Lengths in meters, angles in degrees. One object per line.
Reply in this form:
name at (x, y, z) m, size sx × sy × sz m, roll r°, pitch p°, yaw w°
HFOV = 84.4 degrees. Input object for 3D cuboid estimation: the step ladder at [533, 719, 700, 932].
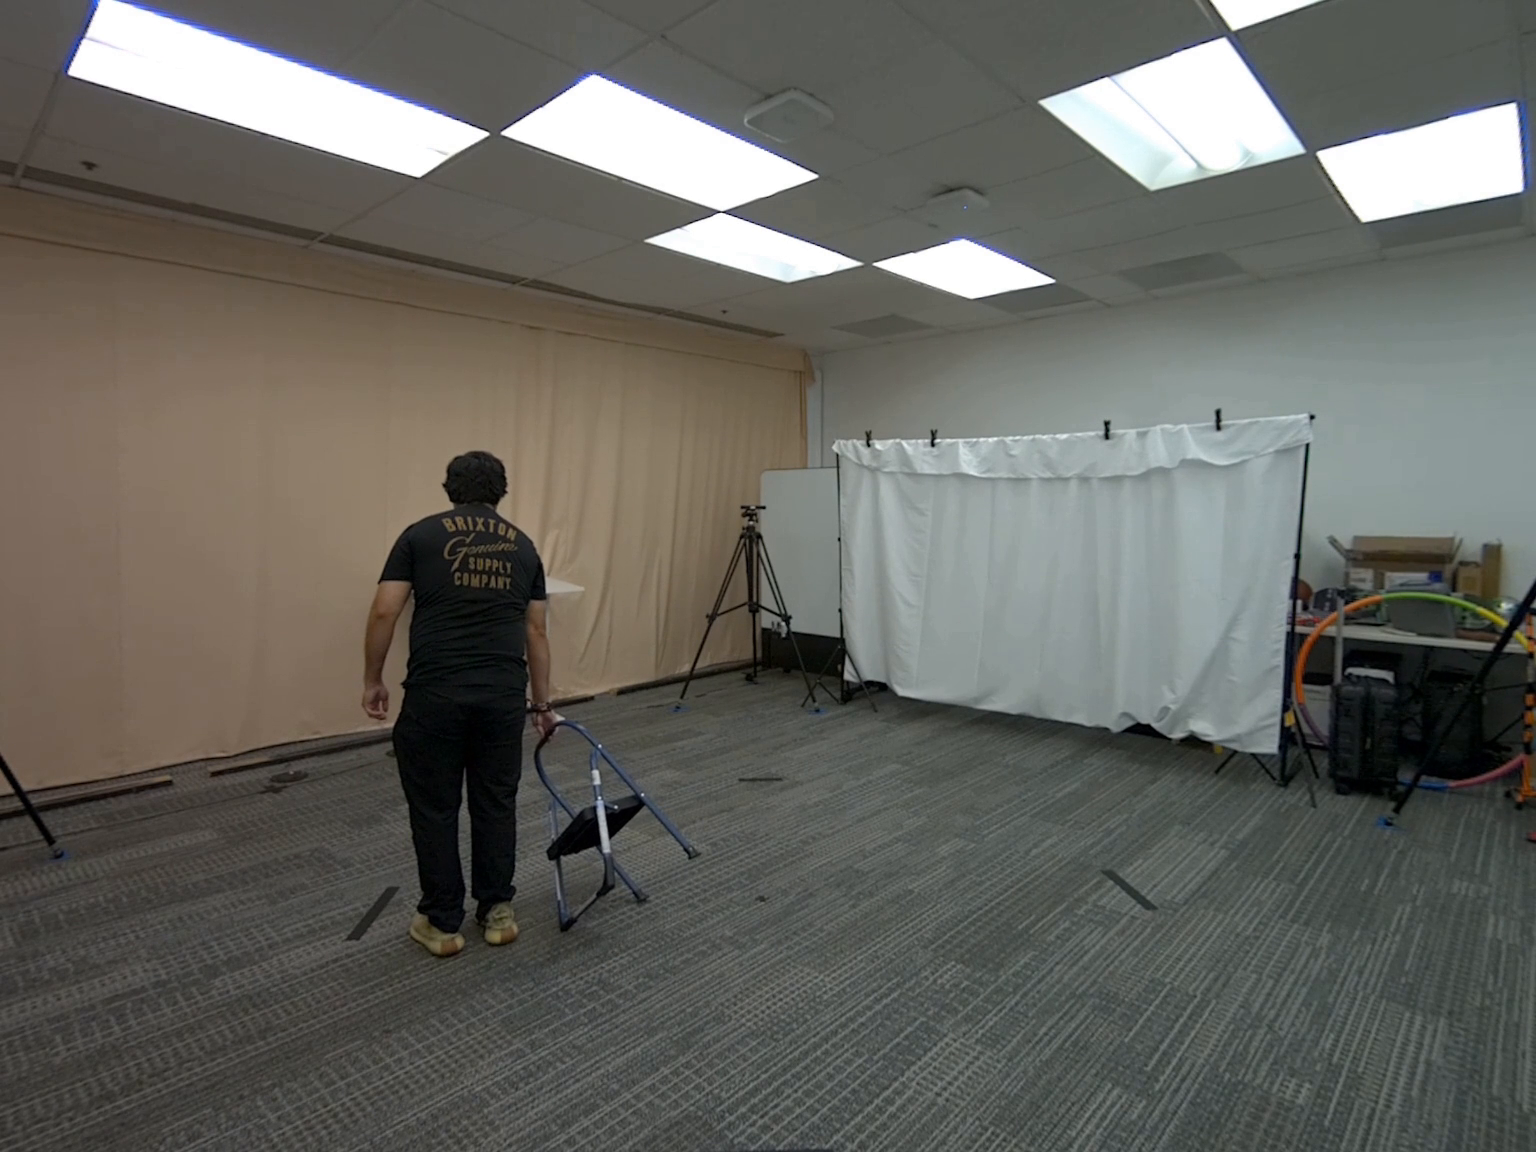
step ladder at (-0.586, 0.796, 2.870) m, size 0.339 × 0.621 × 0.433 m, roll -4°, pitch -35°, yaw -42°
